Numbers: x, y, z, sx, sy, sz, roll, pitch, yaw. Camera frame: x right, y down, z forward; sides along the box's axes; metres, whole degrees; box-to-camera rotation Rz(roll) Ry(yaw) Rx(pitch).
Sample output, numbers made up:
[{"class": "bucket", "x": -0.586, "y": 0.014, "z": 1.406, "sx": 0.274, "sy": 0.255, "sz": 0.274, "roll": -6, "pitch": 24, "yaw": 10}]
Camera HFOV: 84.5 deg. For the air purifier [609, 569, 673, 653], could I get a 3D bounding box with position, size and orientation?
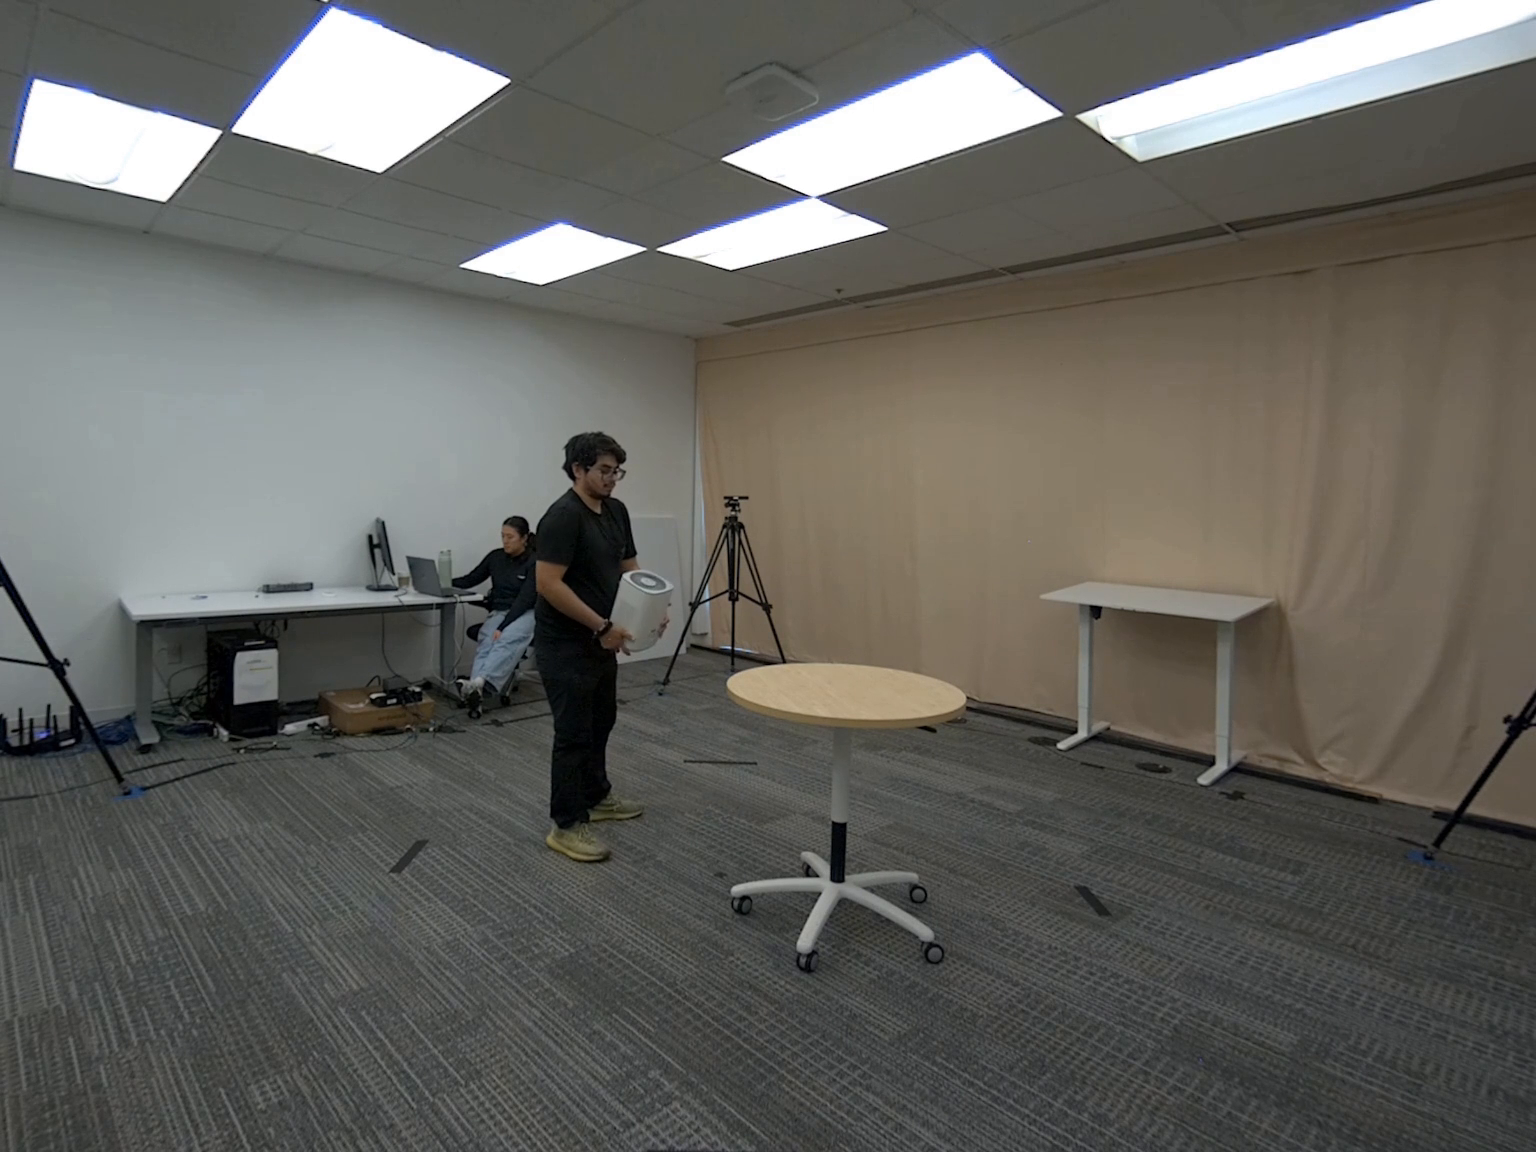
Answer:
[{"class": "air purifier", "x": -0.503, "y": 0.135, "z": 3.189, "sx": 0.178, "sy": 0.260, "sz": 0.165, "roll": 30, "pitch": 23, "yaw": 29}]
